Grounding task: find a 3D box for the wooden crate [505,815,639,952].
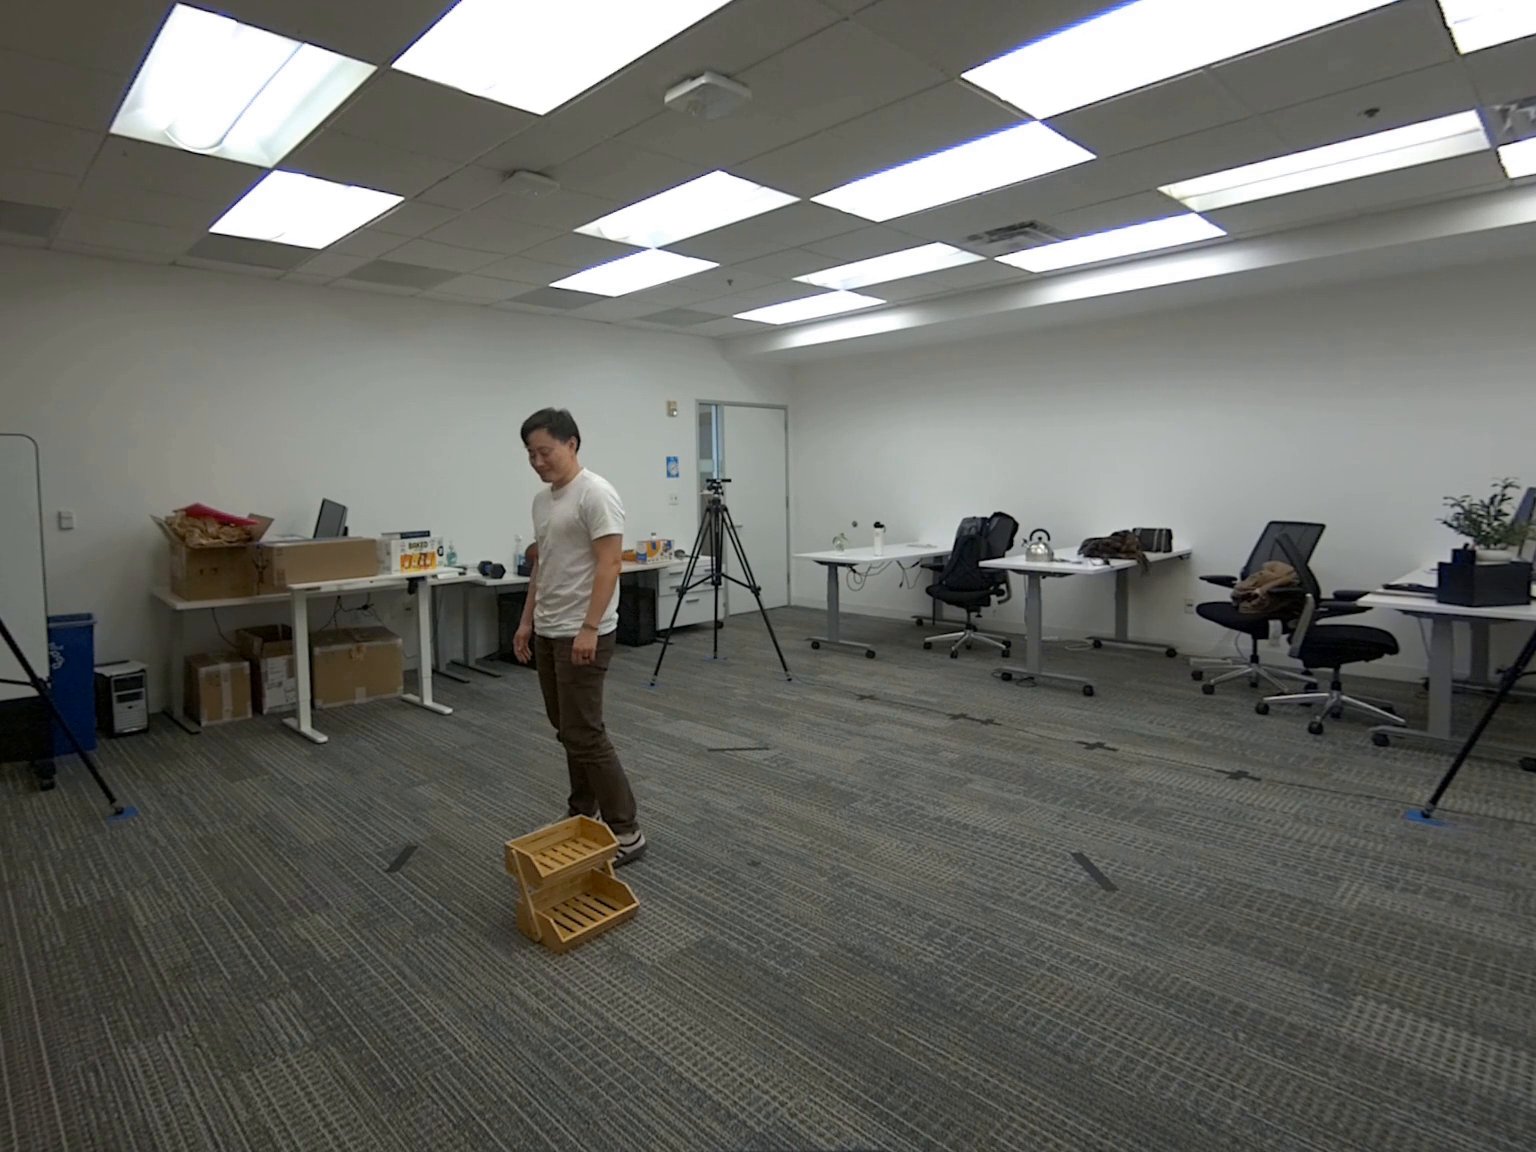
[{"bbox_3d":[-0.618,0.967,2.721,0.311,0.272,0.316,3,7,41],"label":"wooden crate"}]
